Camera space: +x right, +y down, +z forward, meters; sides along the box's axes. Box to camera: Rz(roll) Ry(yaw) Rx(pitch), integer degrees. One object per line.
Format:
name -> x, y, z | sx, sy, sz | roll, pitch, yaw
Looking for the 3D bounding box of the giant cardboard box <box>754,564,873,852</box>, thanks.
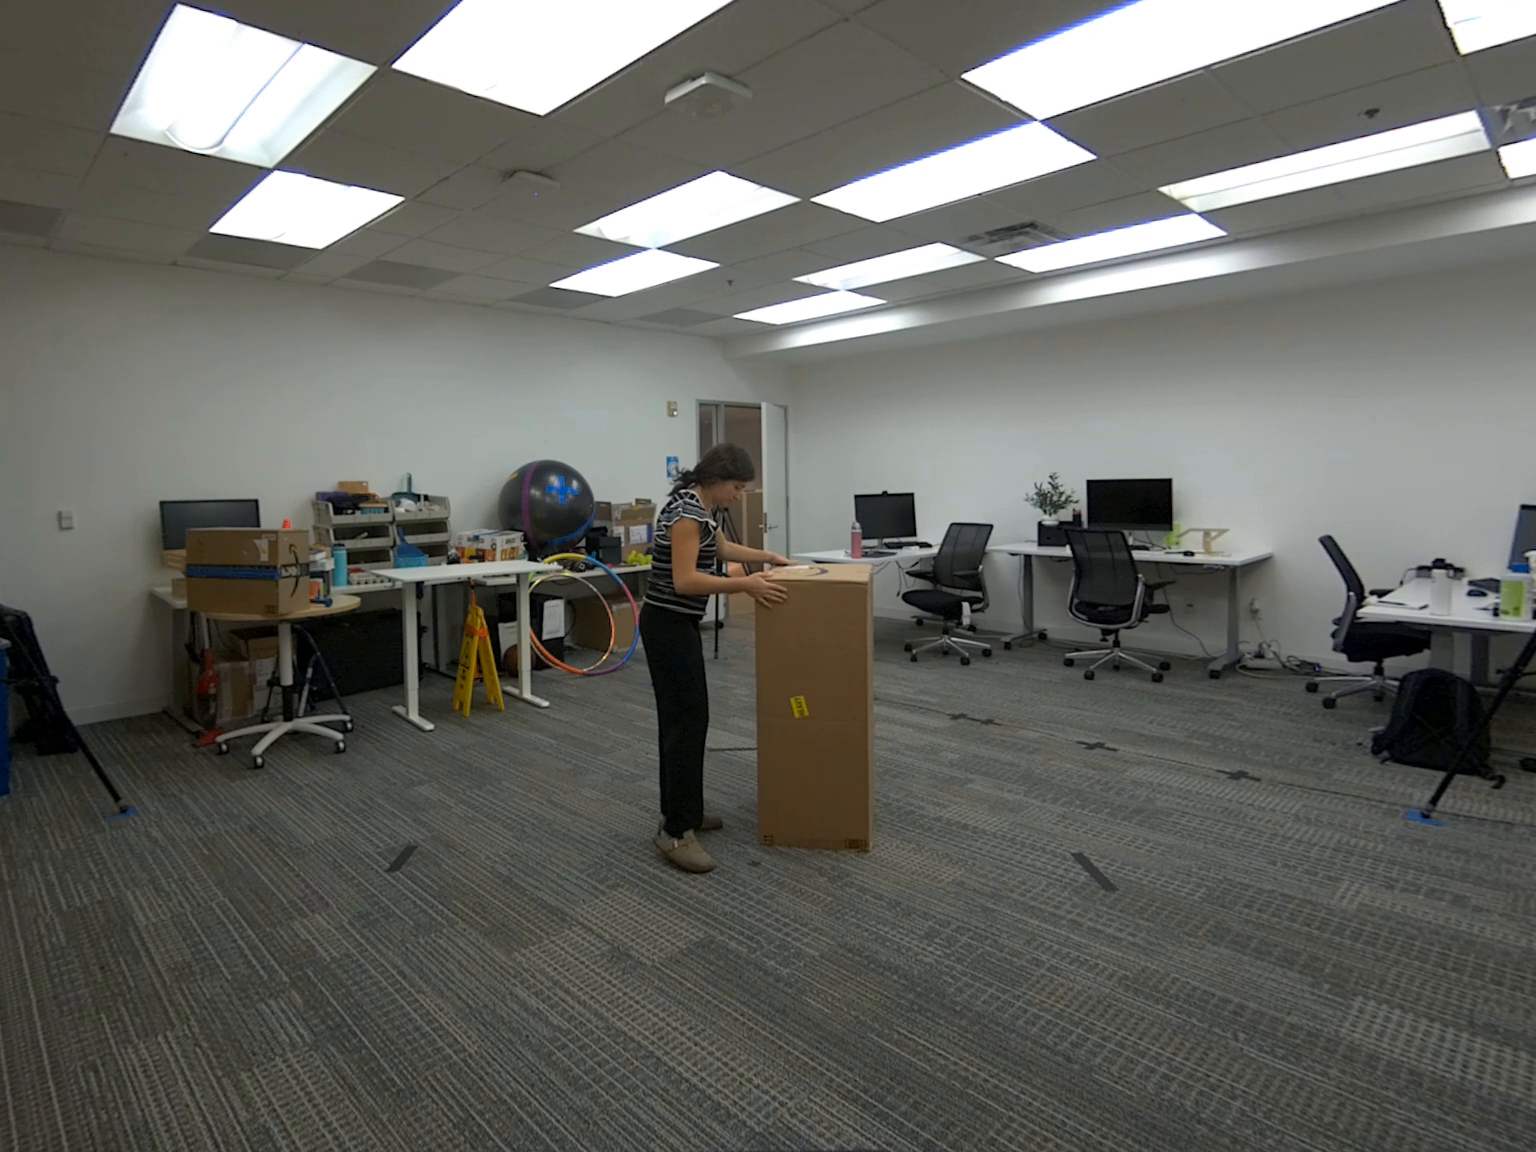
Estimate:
giant cardboard box -> 0.206, 0.494, 3.472 | 0.431, 1.022, 0.574 | 0, 5, 10
